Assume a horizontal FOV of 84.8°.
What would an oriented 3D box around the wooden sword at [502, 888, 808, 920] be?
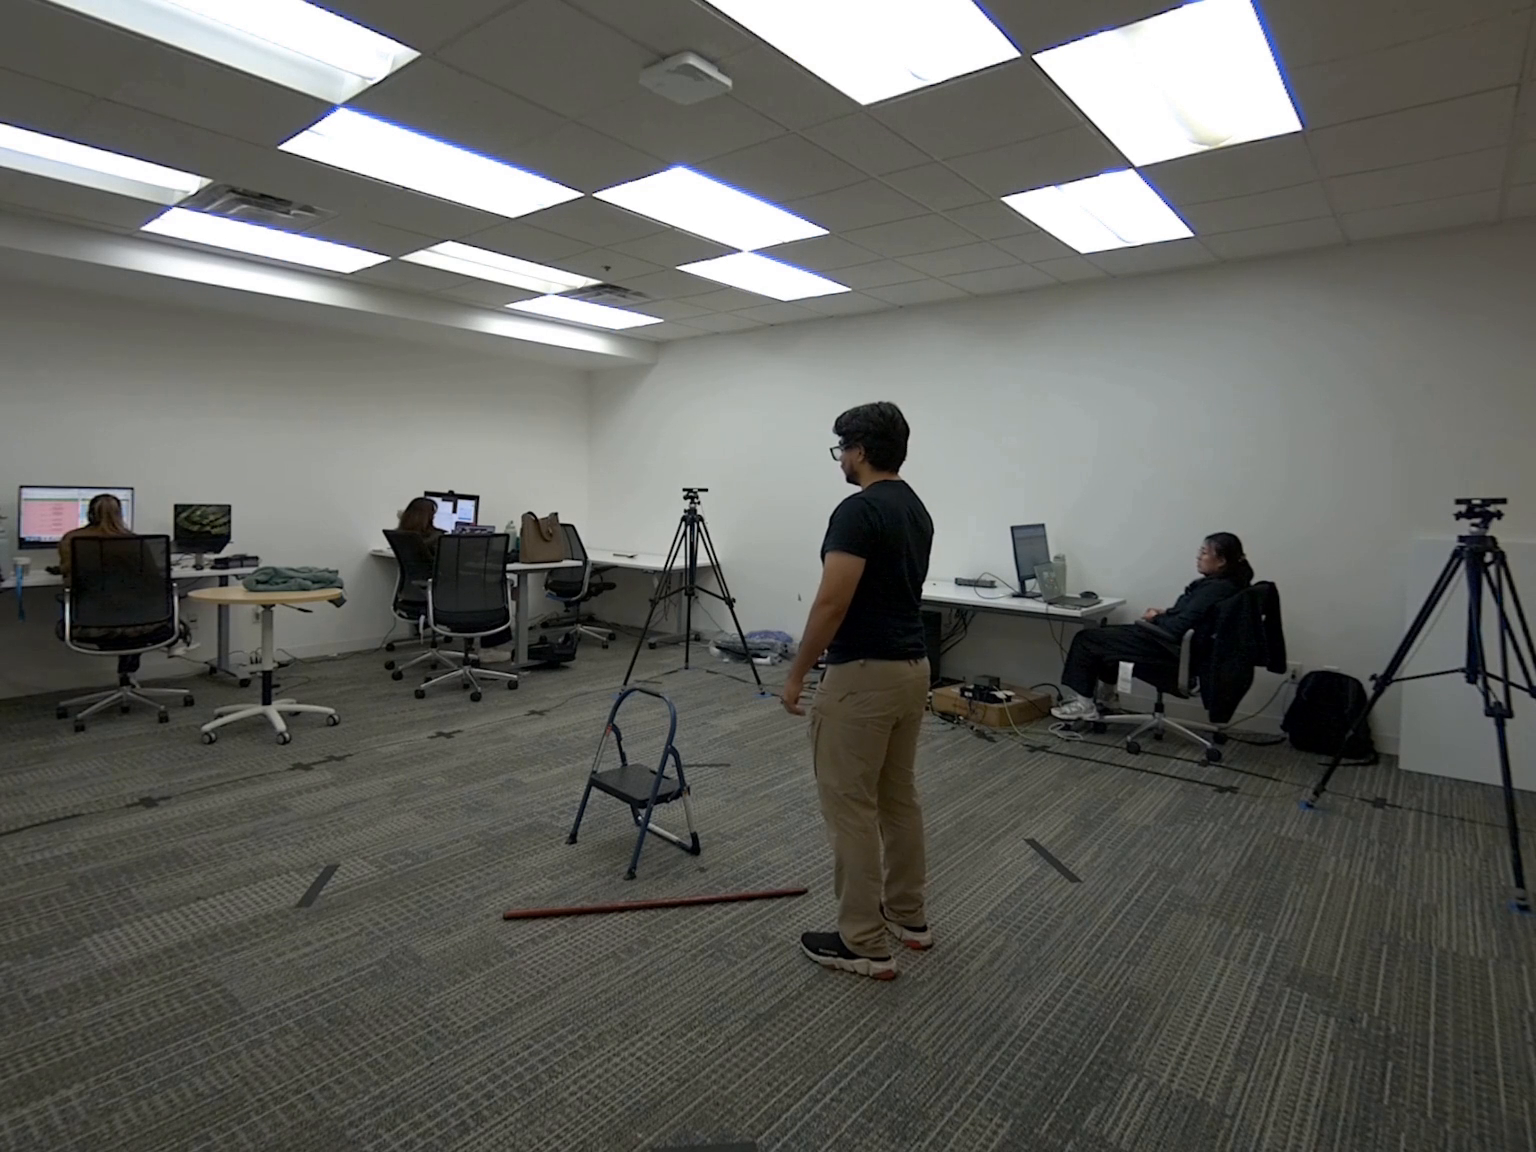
[{"bbox_3d":[-0.356,1.070,2.830,1.012,0.025,0.050,0,-30,-11],"label":"wooden sword"}]
